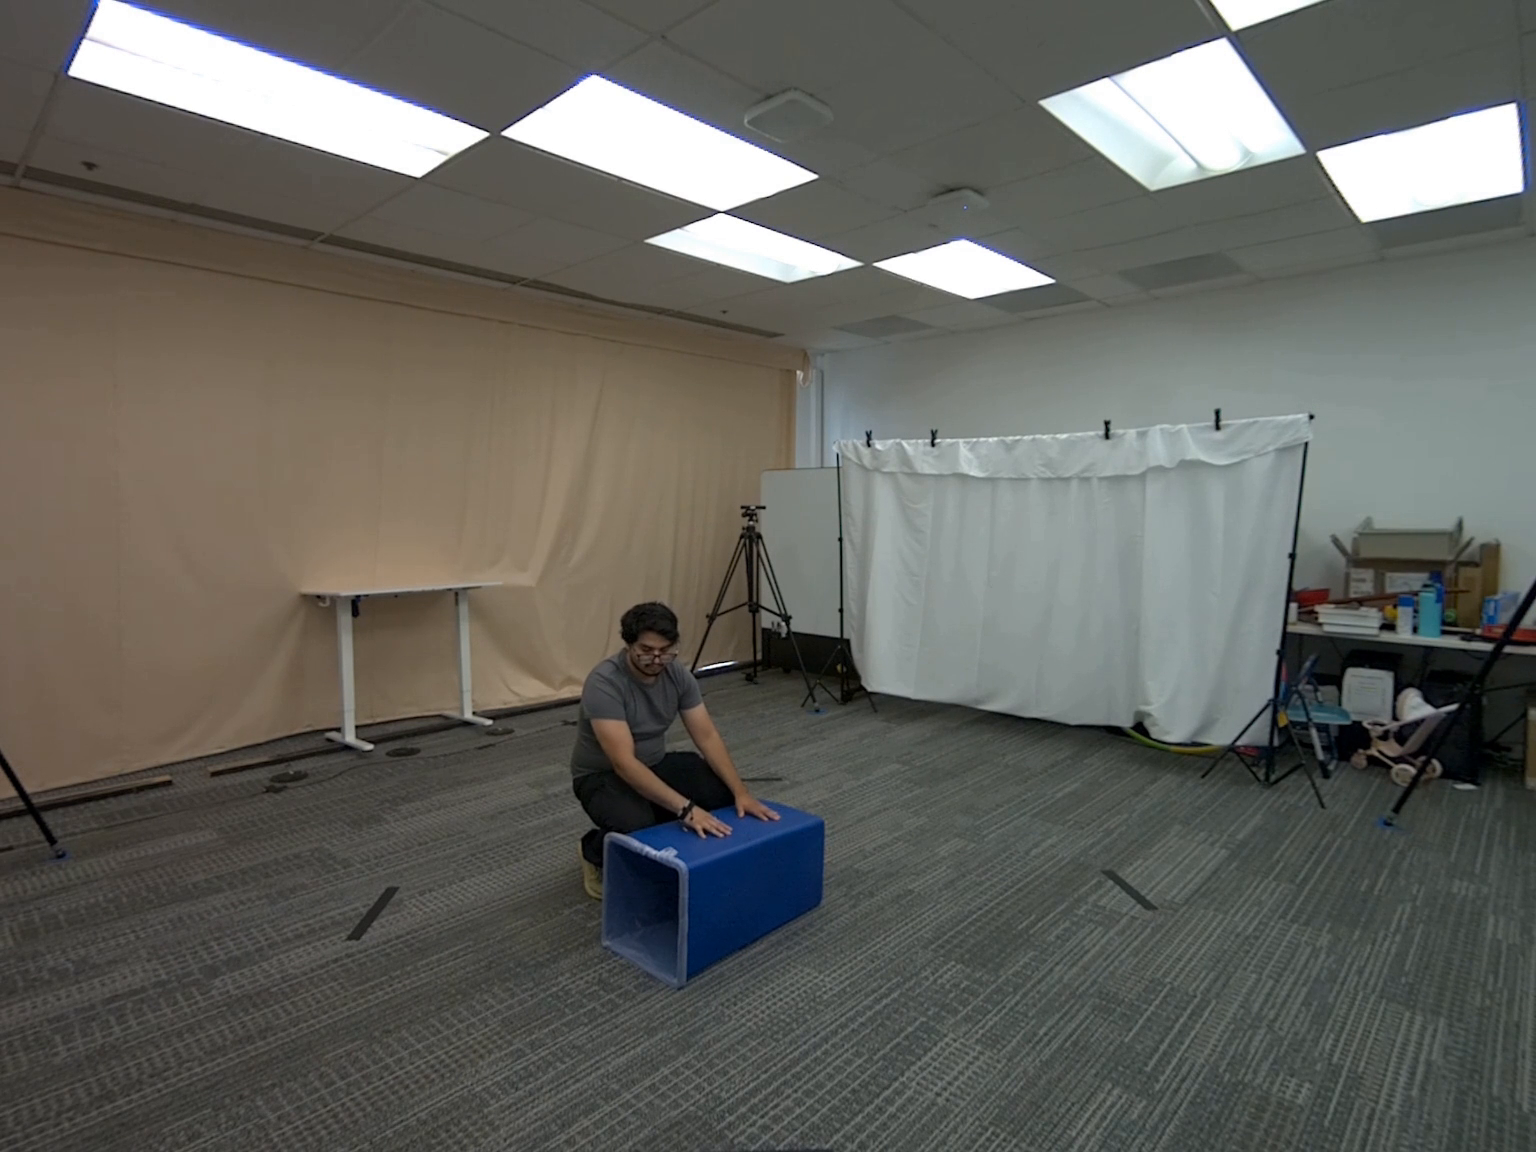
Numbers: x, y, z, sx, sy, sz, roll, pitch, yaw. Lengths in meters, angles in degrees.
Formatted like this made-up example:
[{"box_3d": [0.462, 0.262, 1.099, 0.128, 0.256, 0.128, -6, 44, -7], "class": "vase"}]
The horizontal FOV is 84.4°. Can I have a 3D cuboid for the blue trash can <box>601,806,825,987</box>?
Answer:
[{"box_3d": [-0.142, 0.990, 2.783, 0.386, 0.377, 0.691, 3, 4, 43], "class": "blue trash can"}]
